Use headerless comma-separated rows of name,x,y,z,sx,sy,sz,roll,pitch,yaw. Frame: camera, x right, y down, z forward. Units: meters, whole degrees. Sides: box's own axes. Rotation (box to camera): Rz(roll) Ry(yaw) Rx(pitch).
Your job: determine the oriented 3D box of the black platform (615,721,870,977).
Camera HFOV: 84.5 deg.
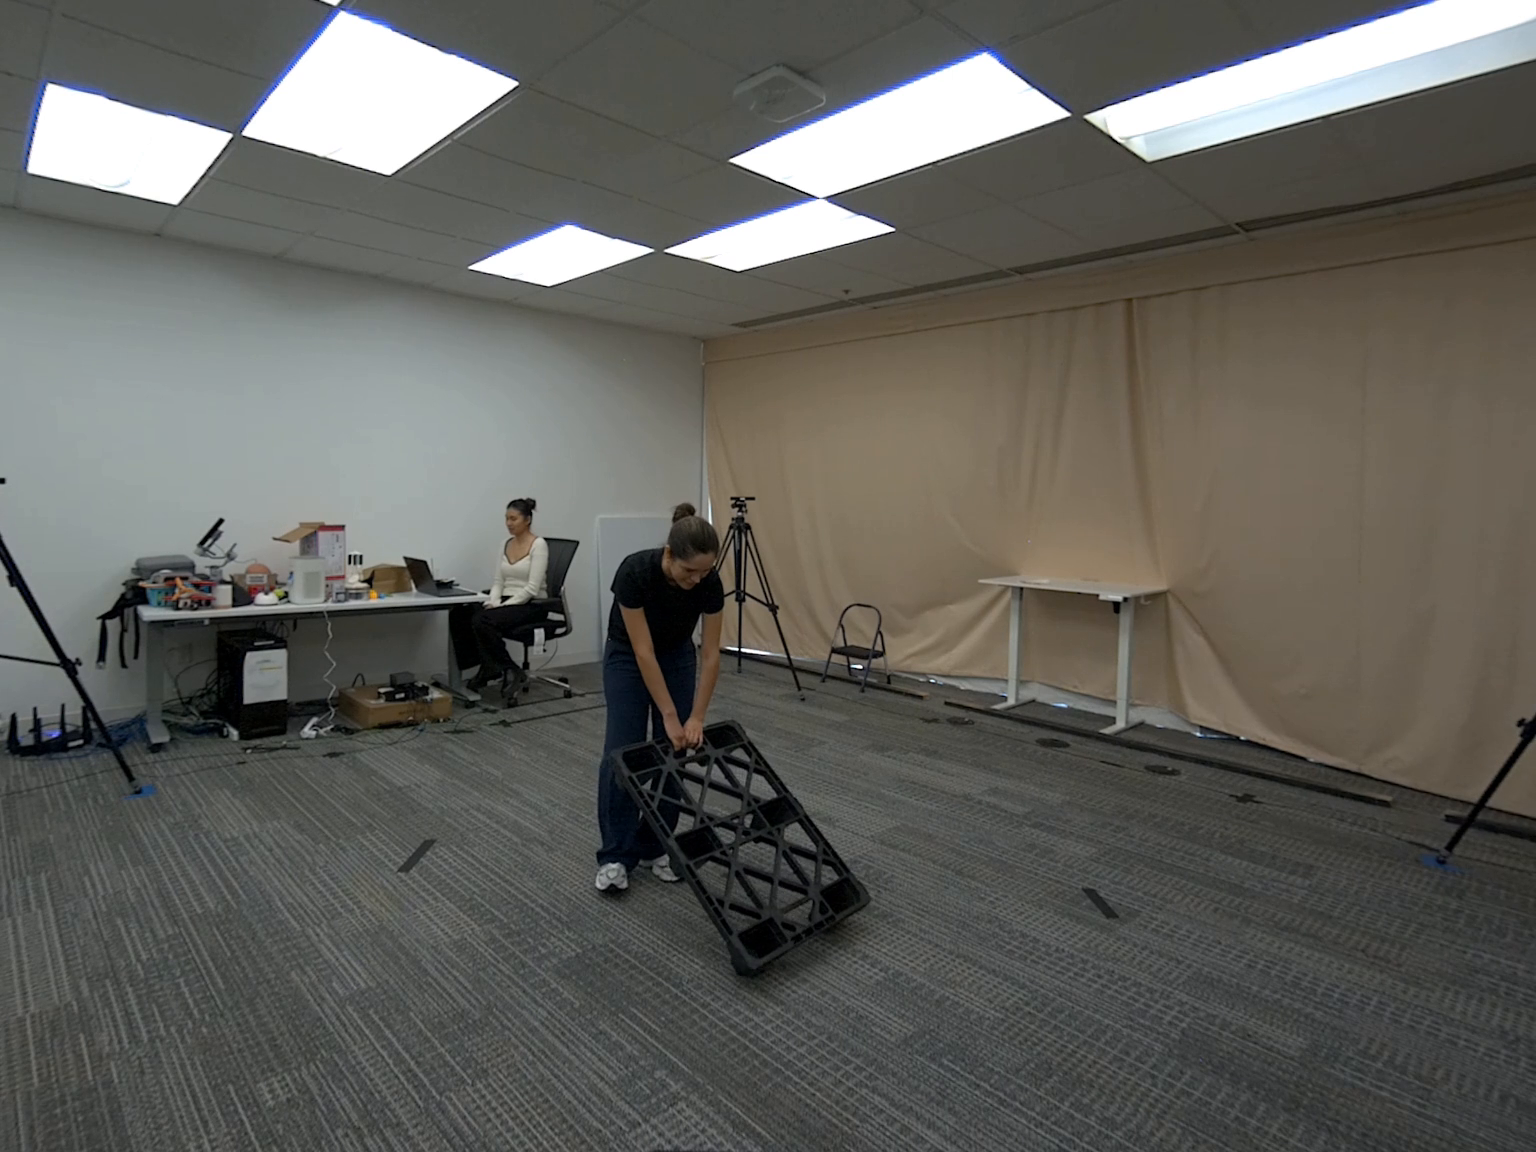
black platform,-0.120,0.867,2.770,0.591,0.142,0.828,-4,43,-48
